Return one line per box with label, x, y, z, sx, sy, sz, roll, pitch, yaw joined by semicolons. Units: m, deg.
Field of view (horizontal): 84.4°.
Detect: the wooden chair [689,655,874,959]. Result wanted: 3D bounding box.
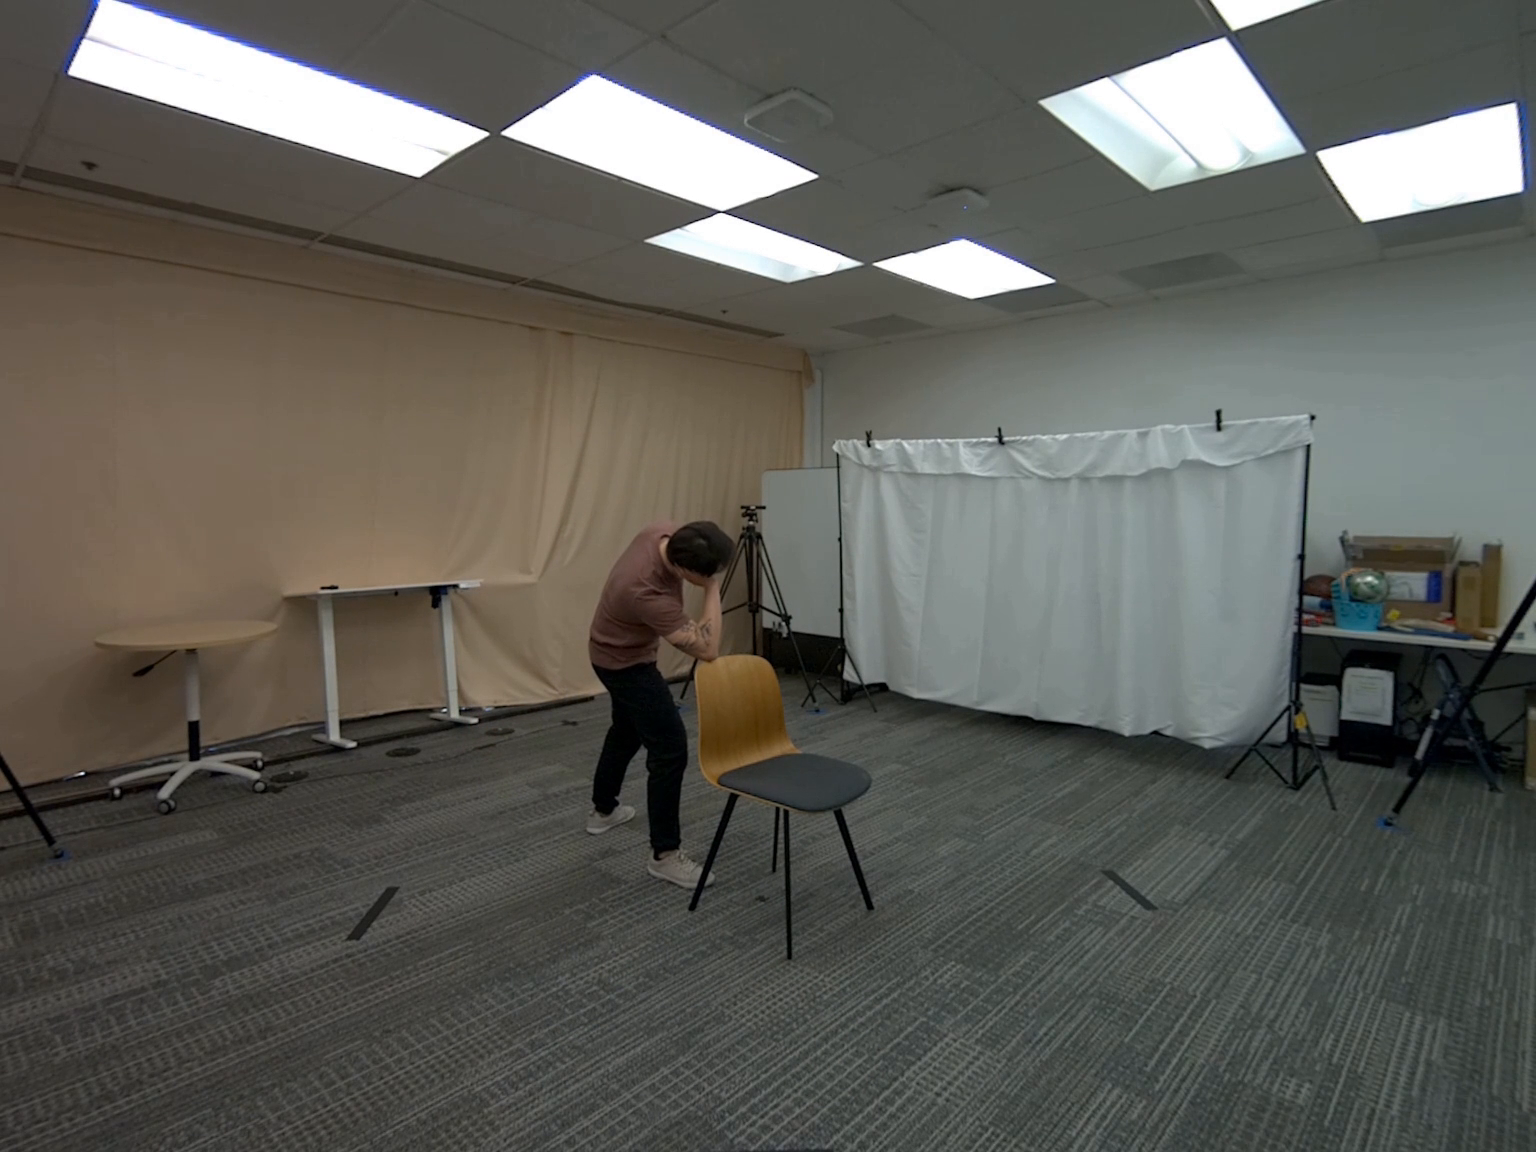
wooden chair;0.056;0.726;2.861;0.539;0.877;0.463;-3;0;43
